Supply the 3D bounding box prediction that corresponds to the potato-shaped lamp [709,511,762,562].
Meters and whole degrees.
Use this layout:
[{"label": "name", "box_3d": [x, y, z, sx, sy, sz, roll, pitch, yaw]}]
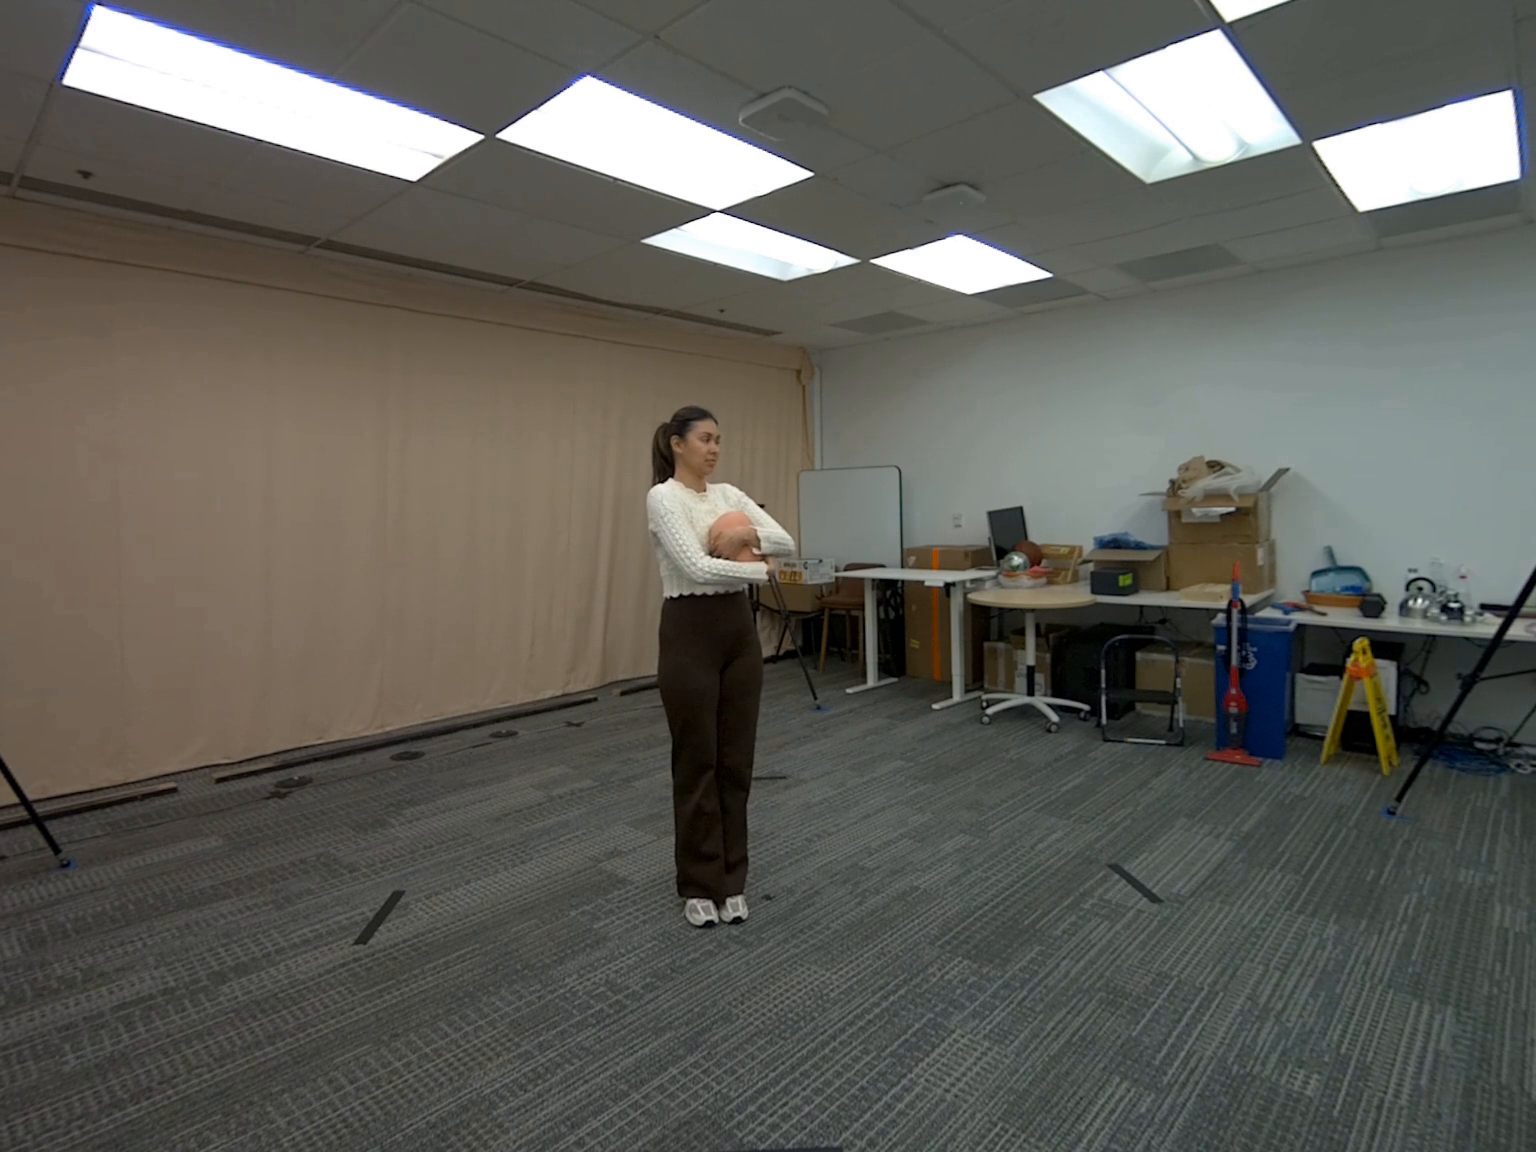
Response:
[{"label": "potato-shaped lamp", "box_3d": [-0.126, -0.110, 2.755, 0.166, 0.198, 0.169, -2, 0, 9]}]
